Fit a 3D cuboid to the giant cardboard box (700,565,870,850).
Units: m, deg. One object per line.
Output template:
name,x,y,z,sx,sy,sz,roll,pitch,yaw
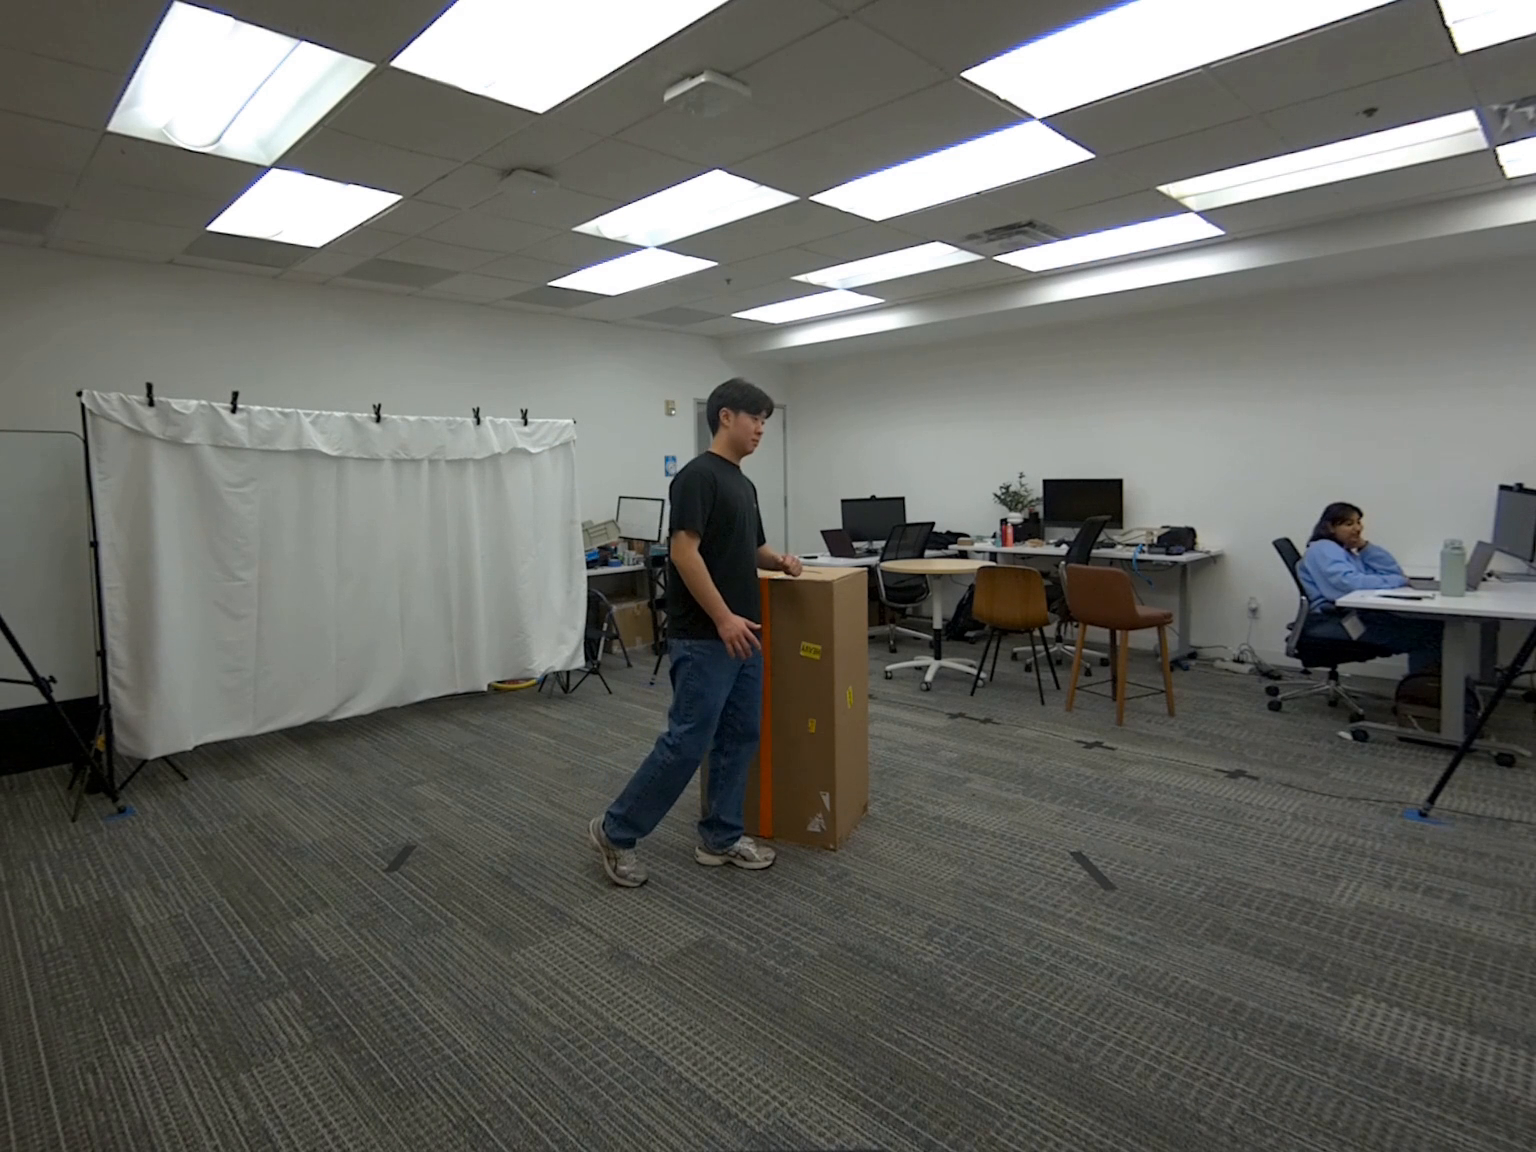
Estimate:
giant cardboard box,0.073,0.484,3.474,0.598,1.022,0.438,2,6,27
